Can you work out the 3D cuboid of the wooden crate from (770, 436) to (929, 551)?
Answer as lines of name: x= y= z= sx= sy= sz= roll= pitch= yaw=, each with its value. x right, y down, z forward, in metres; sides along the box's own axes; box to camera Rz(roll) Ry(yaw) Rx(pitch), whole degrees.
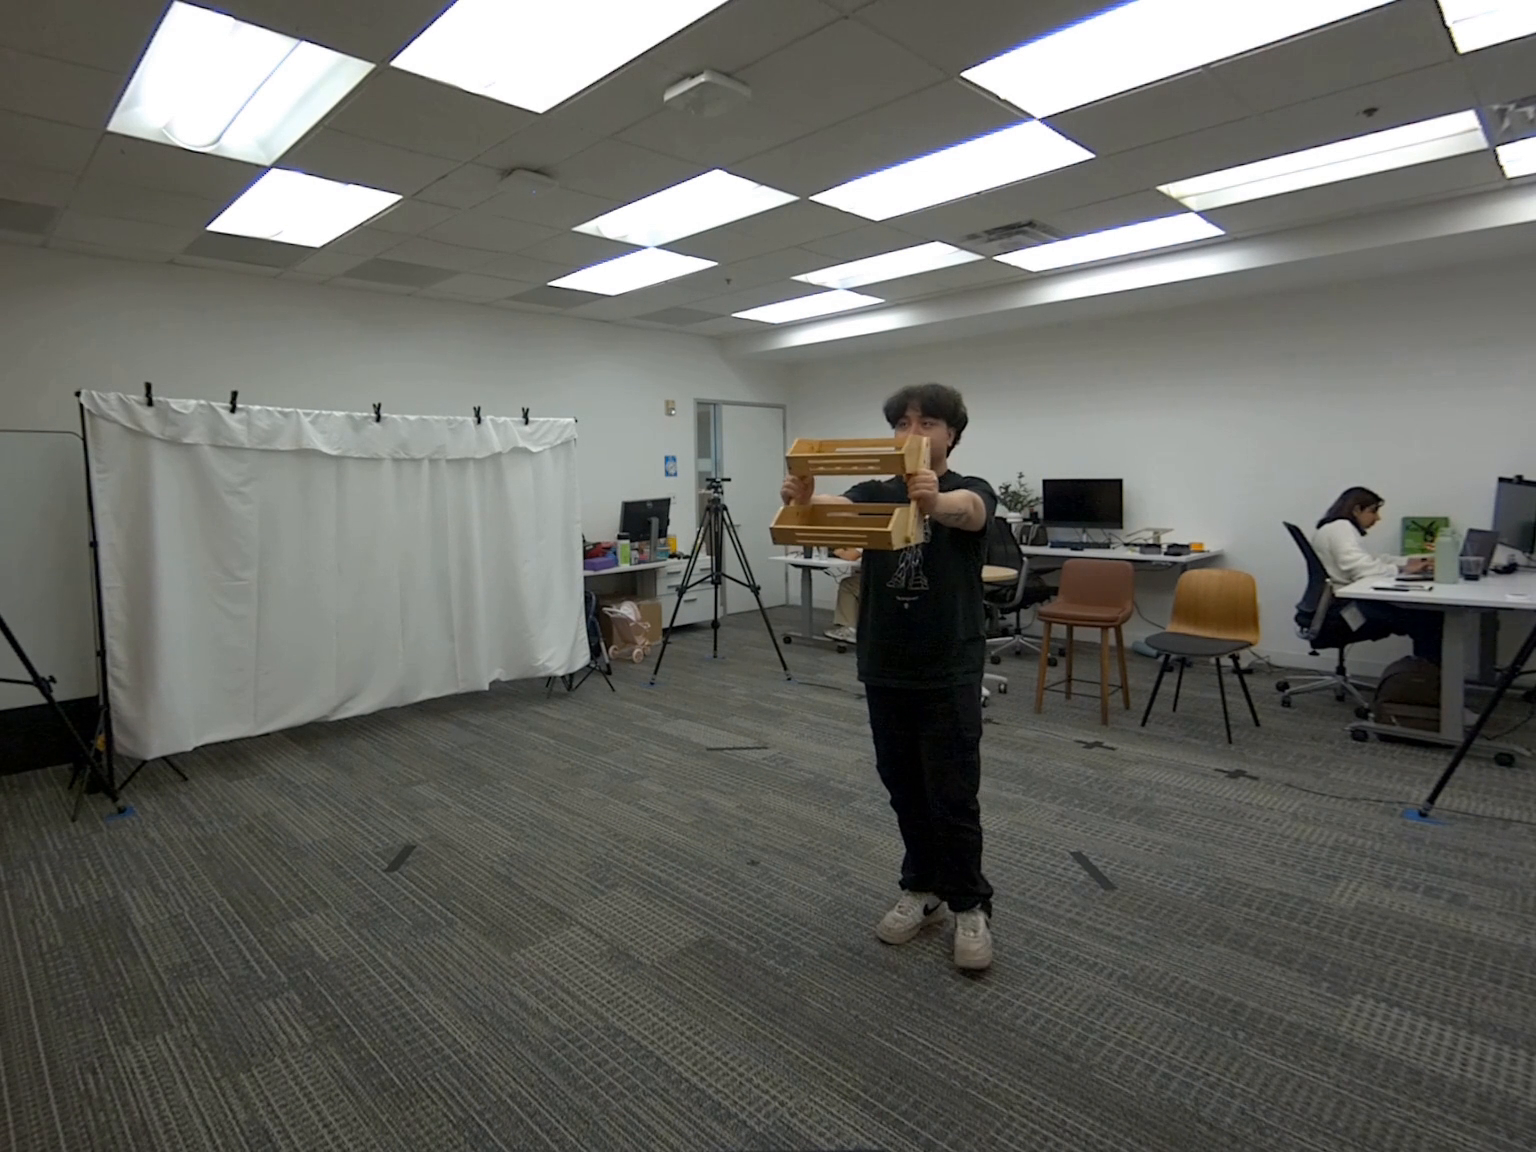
wooden crate: x=0.214 y=-0.212 z=2.074 sx=0.333 sy=0.272 sz=0.296 roll=3 pitch=6 yaw=27
